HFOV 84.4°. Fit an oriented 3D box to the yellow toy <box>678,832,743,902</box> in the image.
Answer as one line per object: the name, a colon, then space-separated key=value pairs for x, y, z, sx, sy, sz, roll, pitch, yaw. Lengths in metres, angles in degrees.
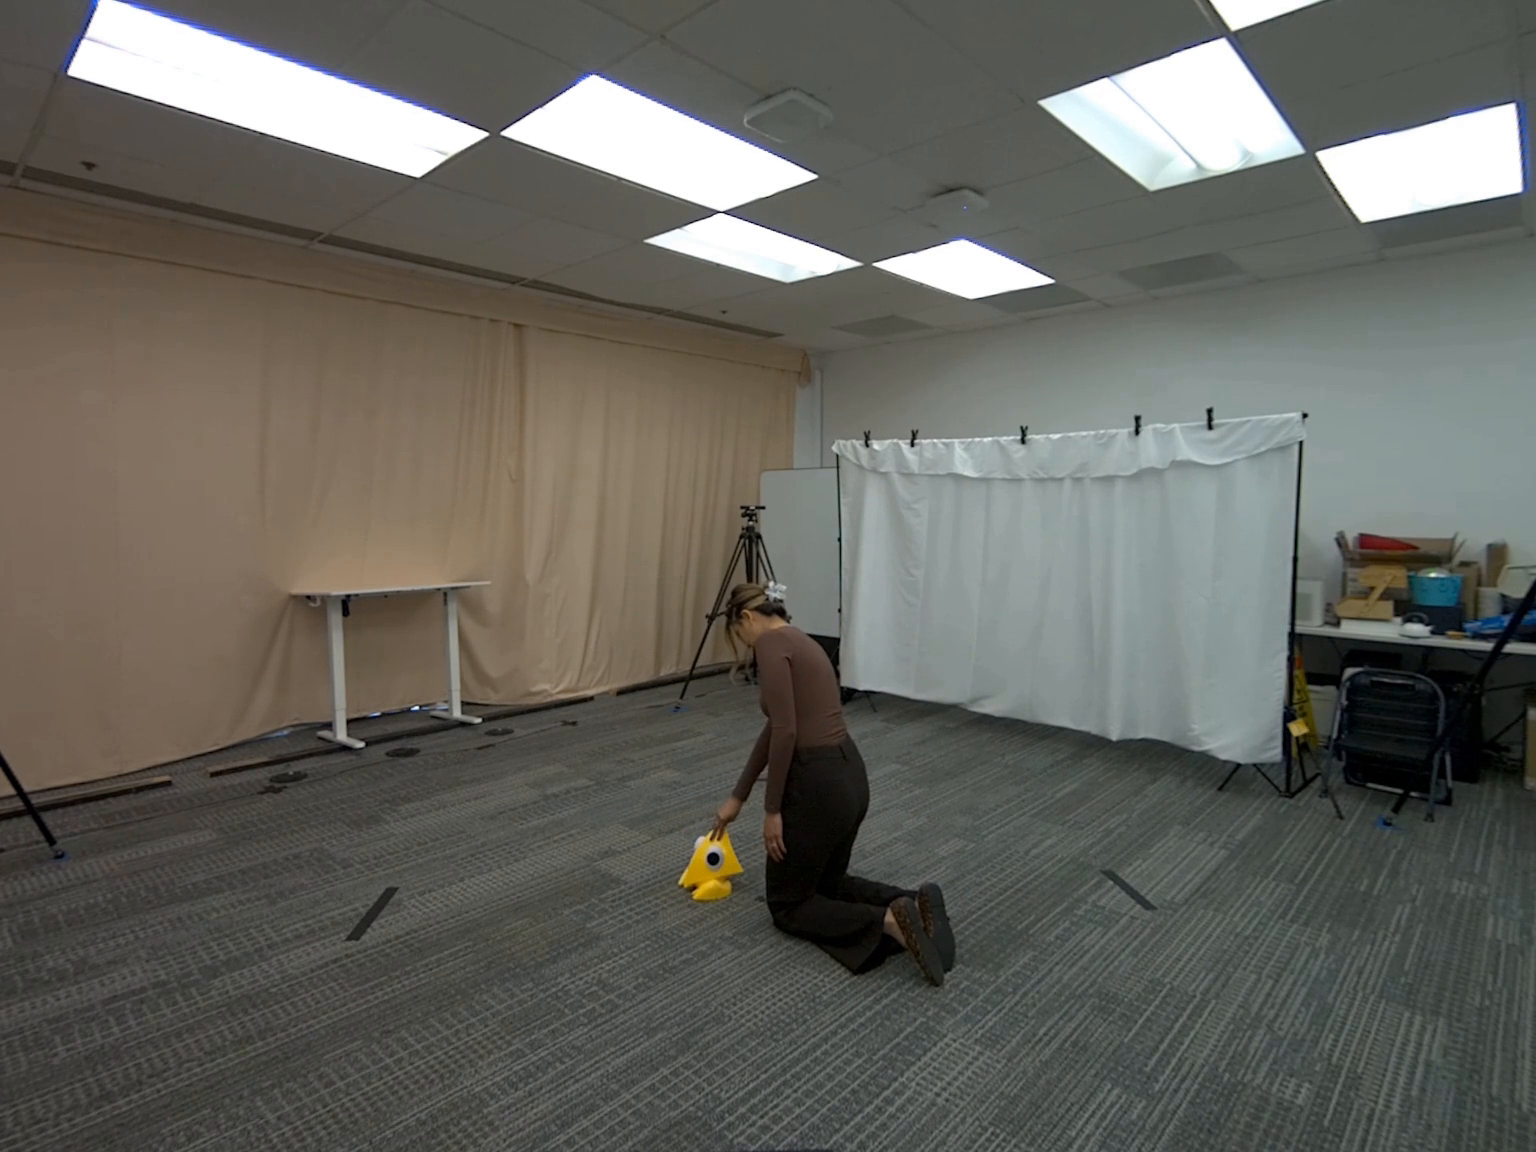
yellow toy: x=-0.217 y=1.024 z=3.074 sx=0.188 sy=0.230 sz=0.210 roll=0 pitch=4 yaw=-27
